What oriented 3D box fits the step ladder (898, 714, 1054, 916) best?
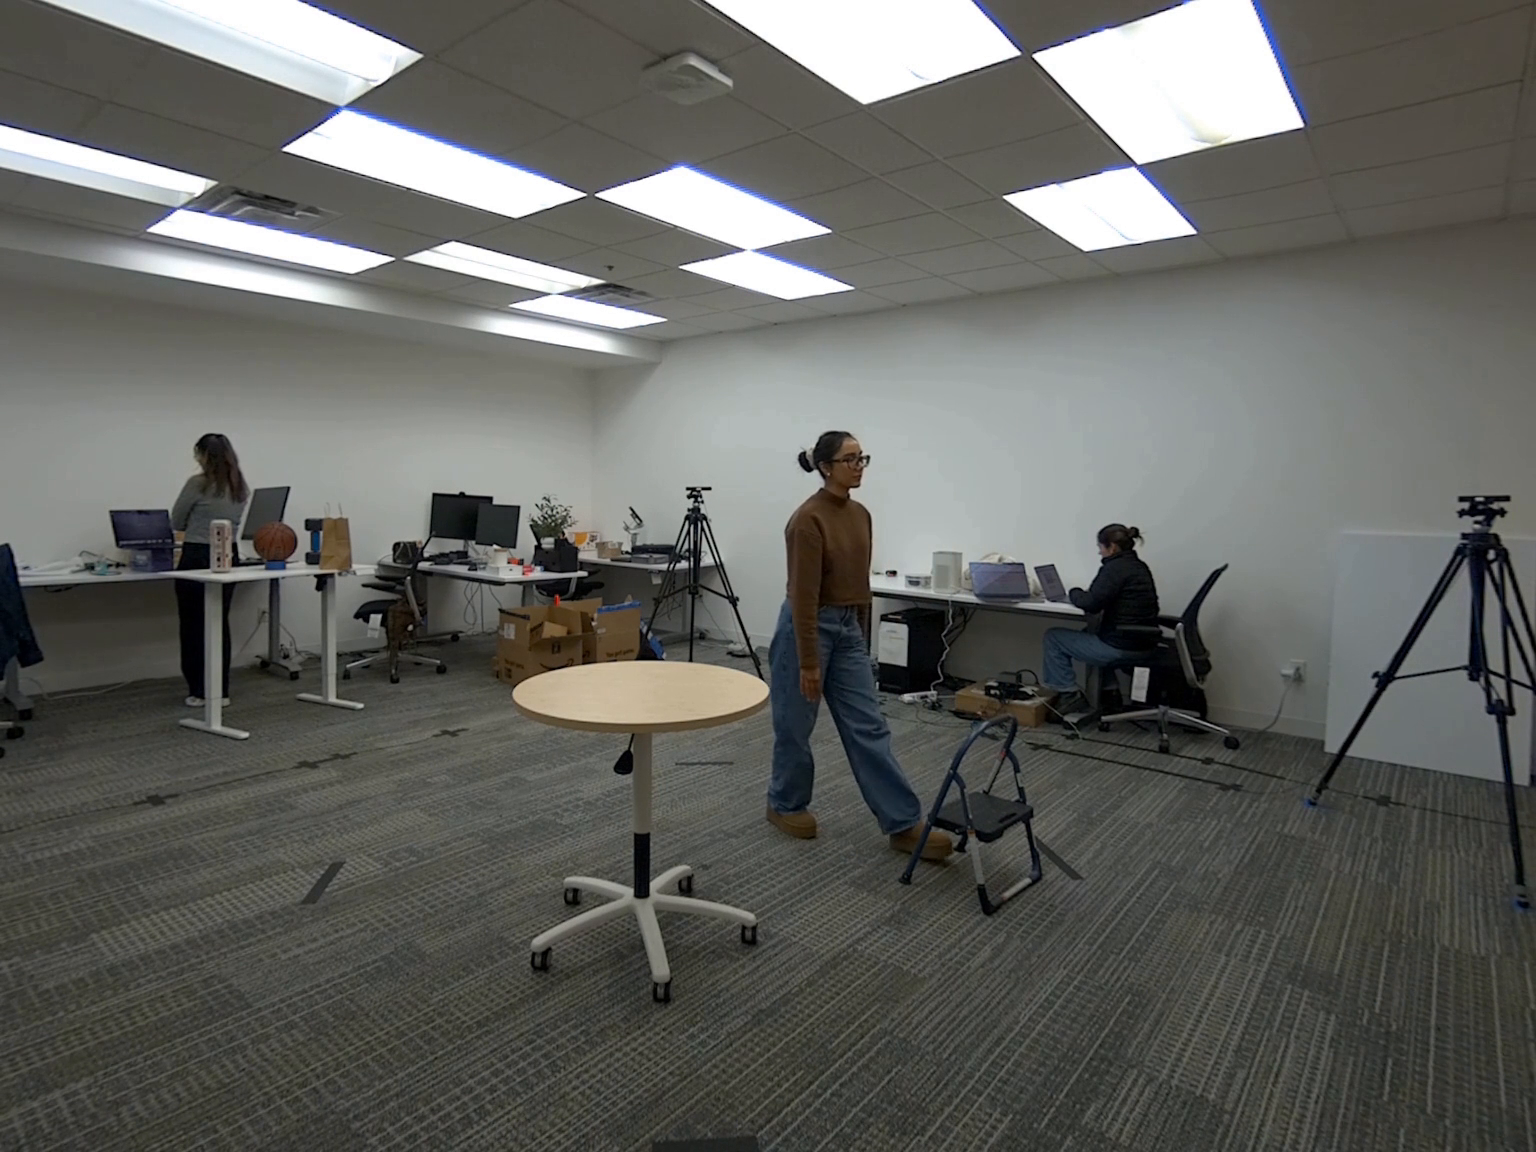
[{"bbox_3d":[0.737,0.794,3.047,0.361,0.605,0.417,4,4,42],"label":"step ladder"}]
